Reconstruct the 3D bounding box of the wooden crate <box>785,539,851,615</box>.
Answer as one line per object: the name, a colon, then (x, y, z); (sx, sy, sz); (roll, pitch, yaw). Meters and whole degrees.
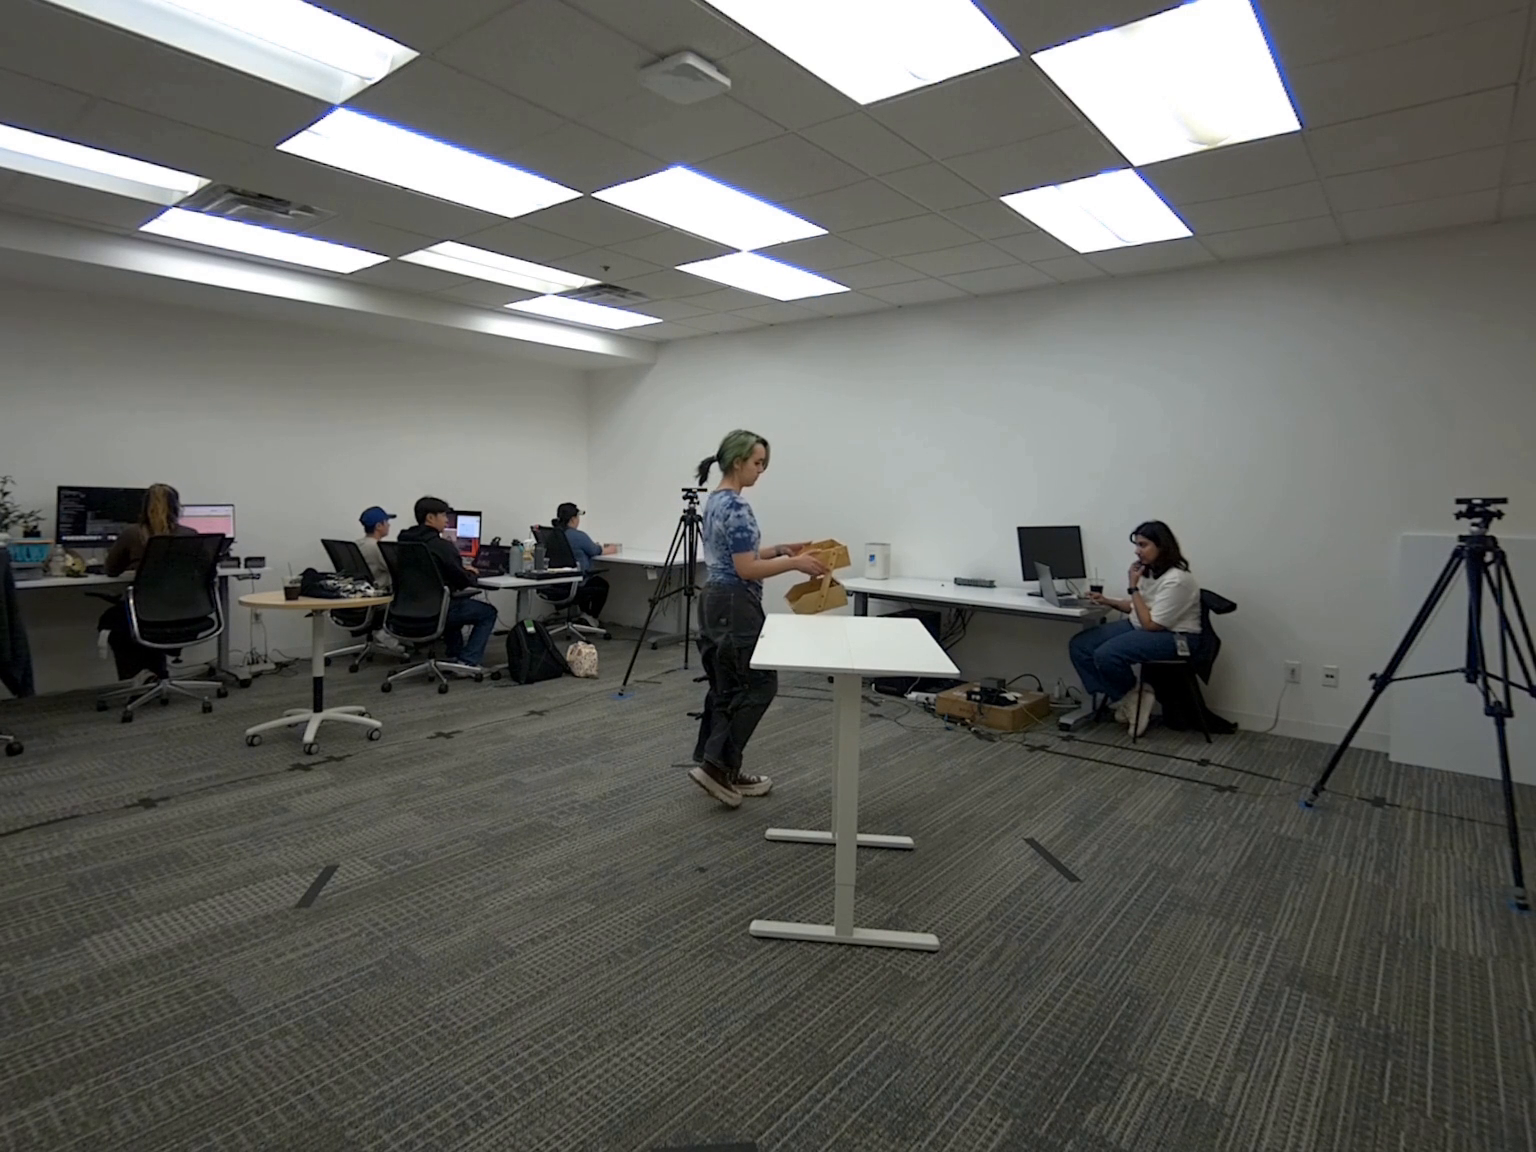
wooden crate: (0.196, -0.002, 3.894); (0.301, 0.271, 0.328); (-14, 9, -3)
